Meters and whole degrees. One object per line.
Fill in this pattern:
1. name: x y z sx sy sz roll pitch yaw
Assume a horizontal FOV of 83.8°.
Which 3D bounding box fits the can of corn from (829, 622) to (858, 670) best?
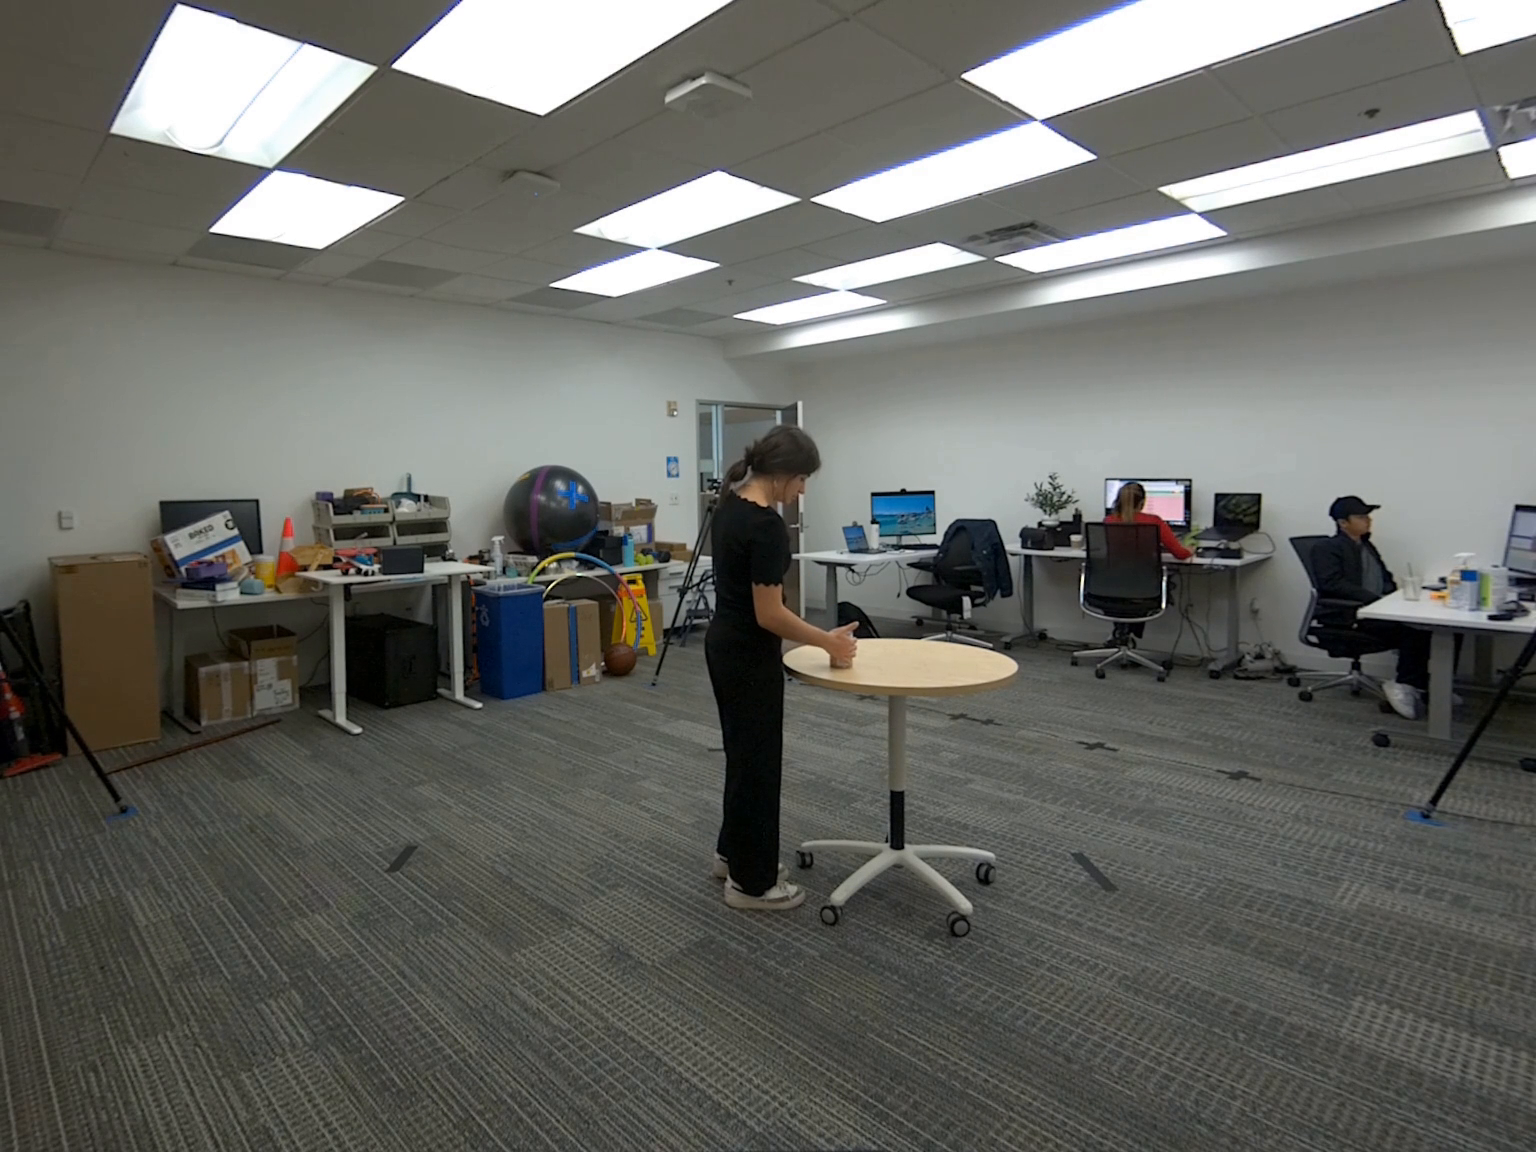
1. can of corn: 0.239 0.239 2.761 0.074 0.110 0.075 2 6 -2
